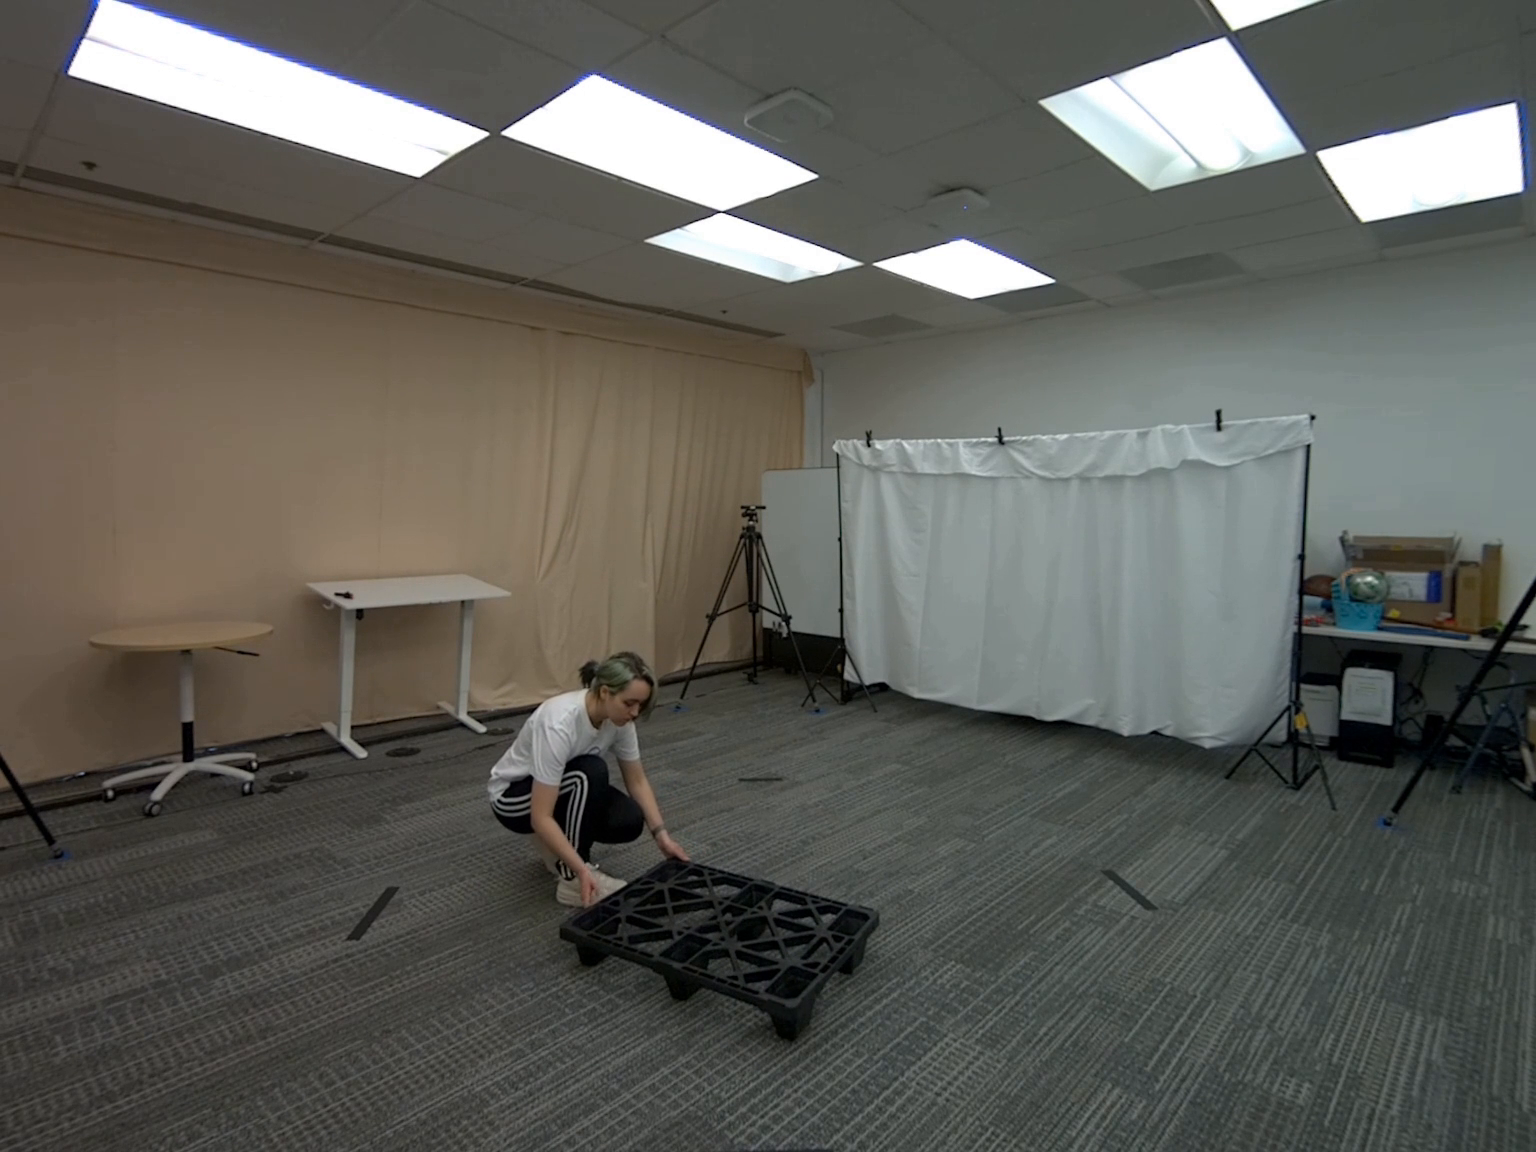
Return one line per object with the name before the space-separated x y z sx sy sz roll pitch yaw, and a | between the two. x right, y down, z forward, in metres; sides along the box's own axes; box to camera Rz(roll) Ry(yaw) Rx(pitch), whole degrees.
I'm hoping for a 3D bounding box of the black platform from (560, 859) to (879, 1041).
black platform | -0.132 1.113 2.565 0.829 0.143 0.589 2 6 30
